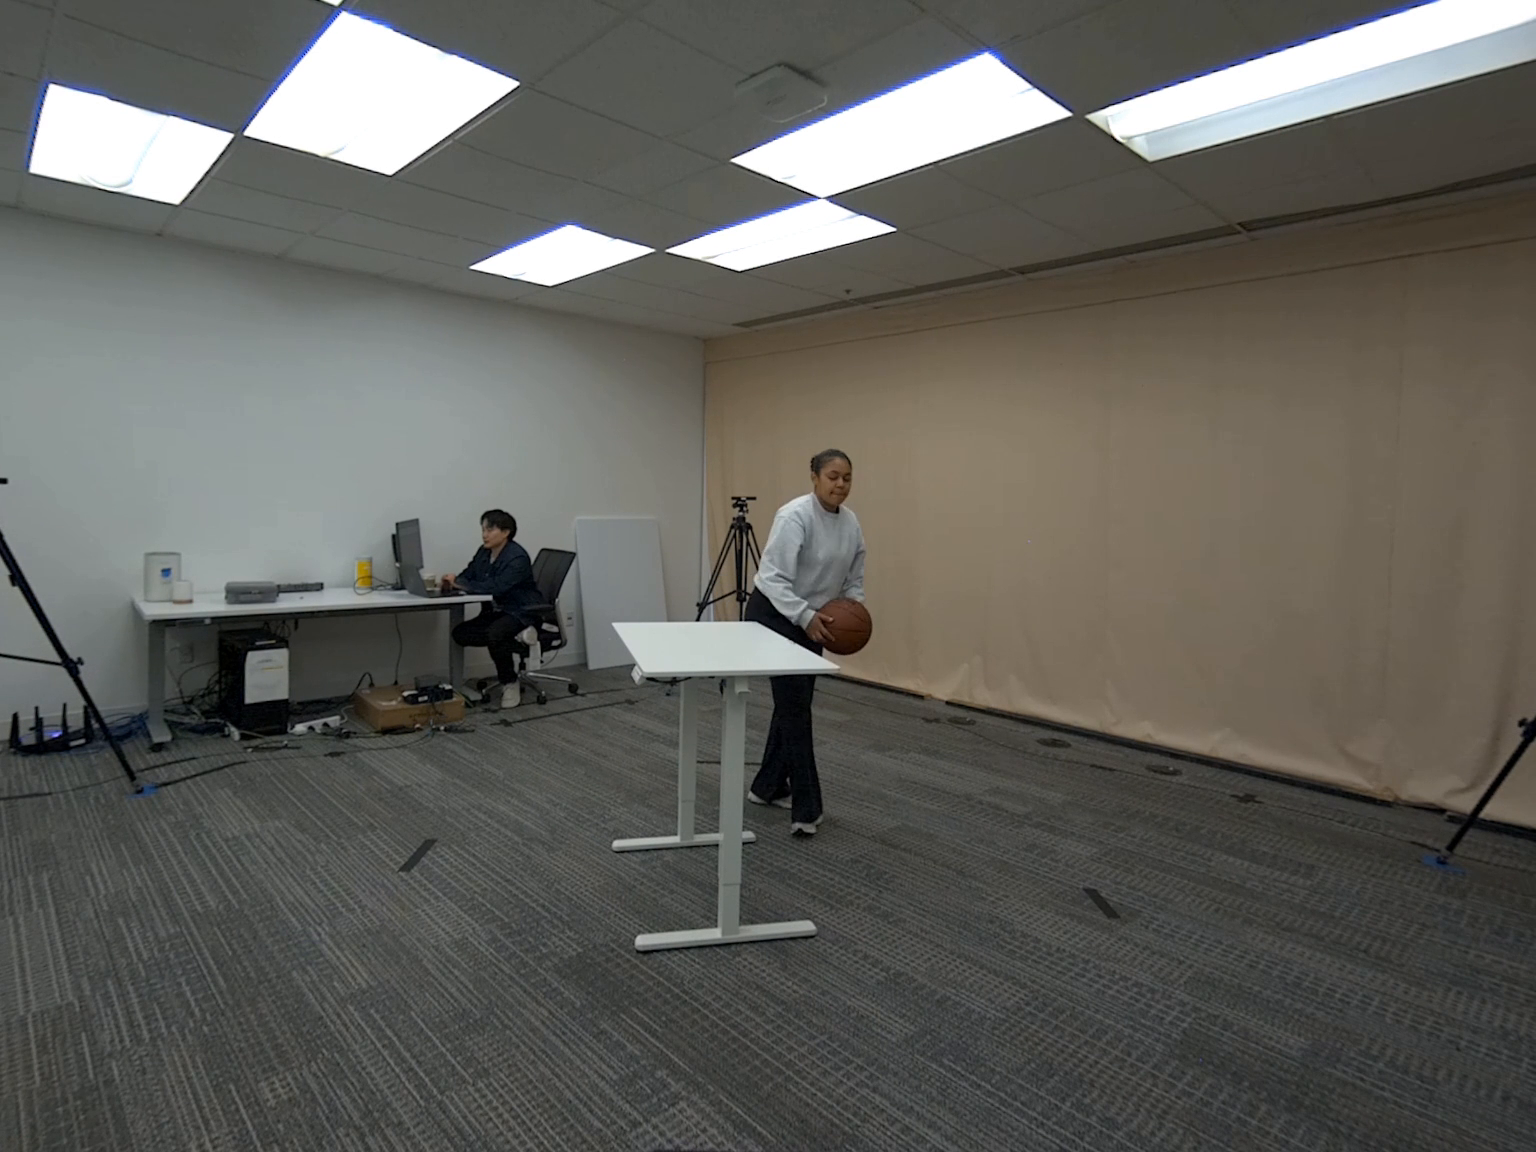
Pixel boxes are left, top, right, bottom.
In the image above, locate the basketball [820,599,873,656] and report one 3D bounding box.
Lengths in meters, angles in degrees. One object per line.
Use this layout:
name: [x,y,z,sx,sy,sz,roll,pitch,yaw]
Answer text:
basketball: [0.288,0.204,3.477,0.236,0.235,0.237,1,4,-1]
